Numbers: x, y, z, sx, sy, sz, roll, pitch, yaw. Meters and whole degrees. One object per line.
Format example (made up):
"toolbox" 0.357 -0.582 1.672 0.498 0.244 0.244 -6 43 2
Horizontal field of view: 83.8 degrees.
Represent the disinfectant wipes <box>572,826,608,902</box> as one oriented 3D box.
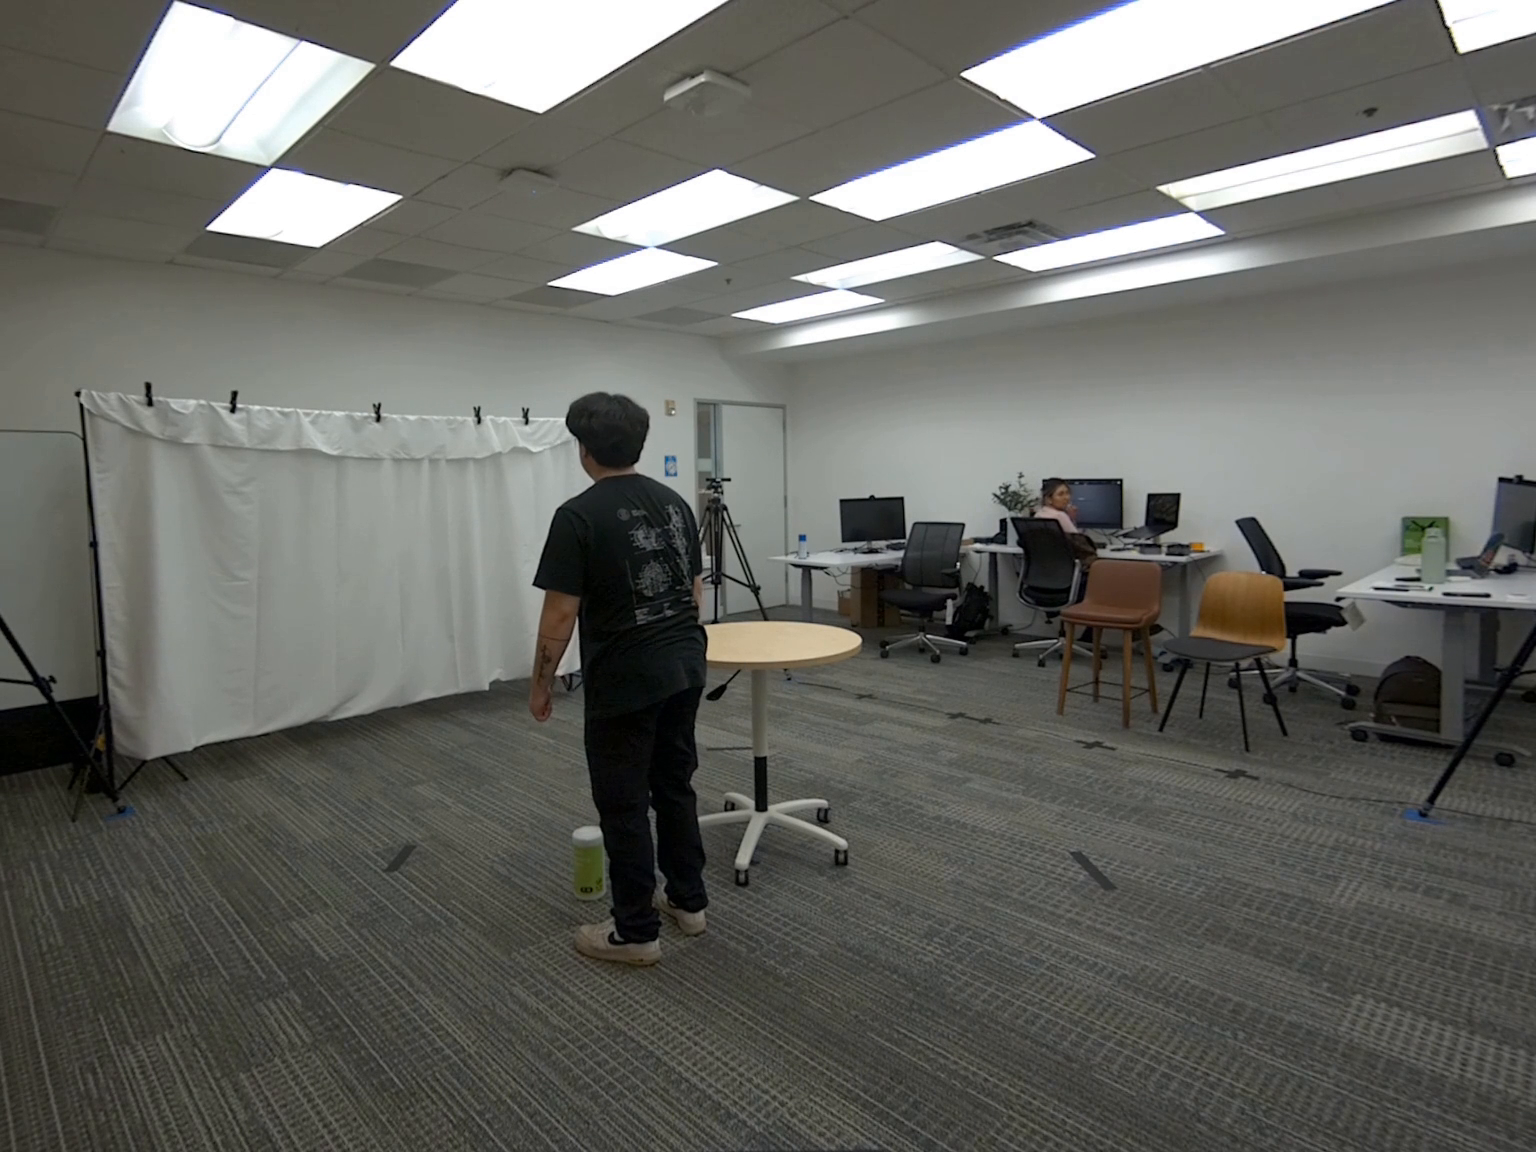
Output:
"disinfectant wipes" -0.612 0.977 2.894 0.118 0.216 0.118 -1 7 -2
